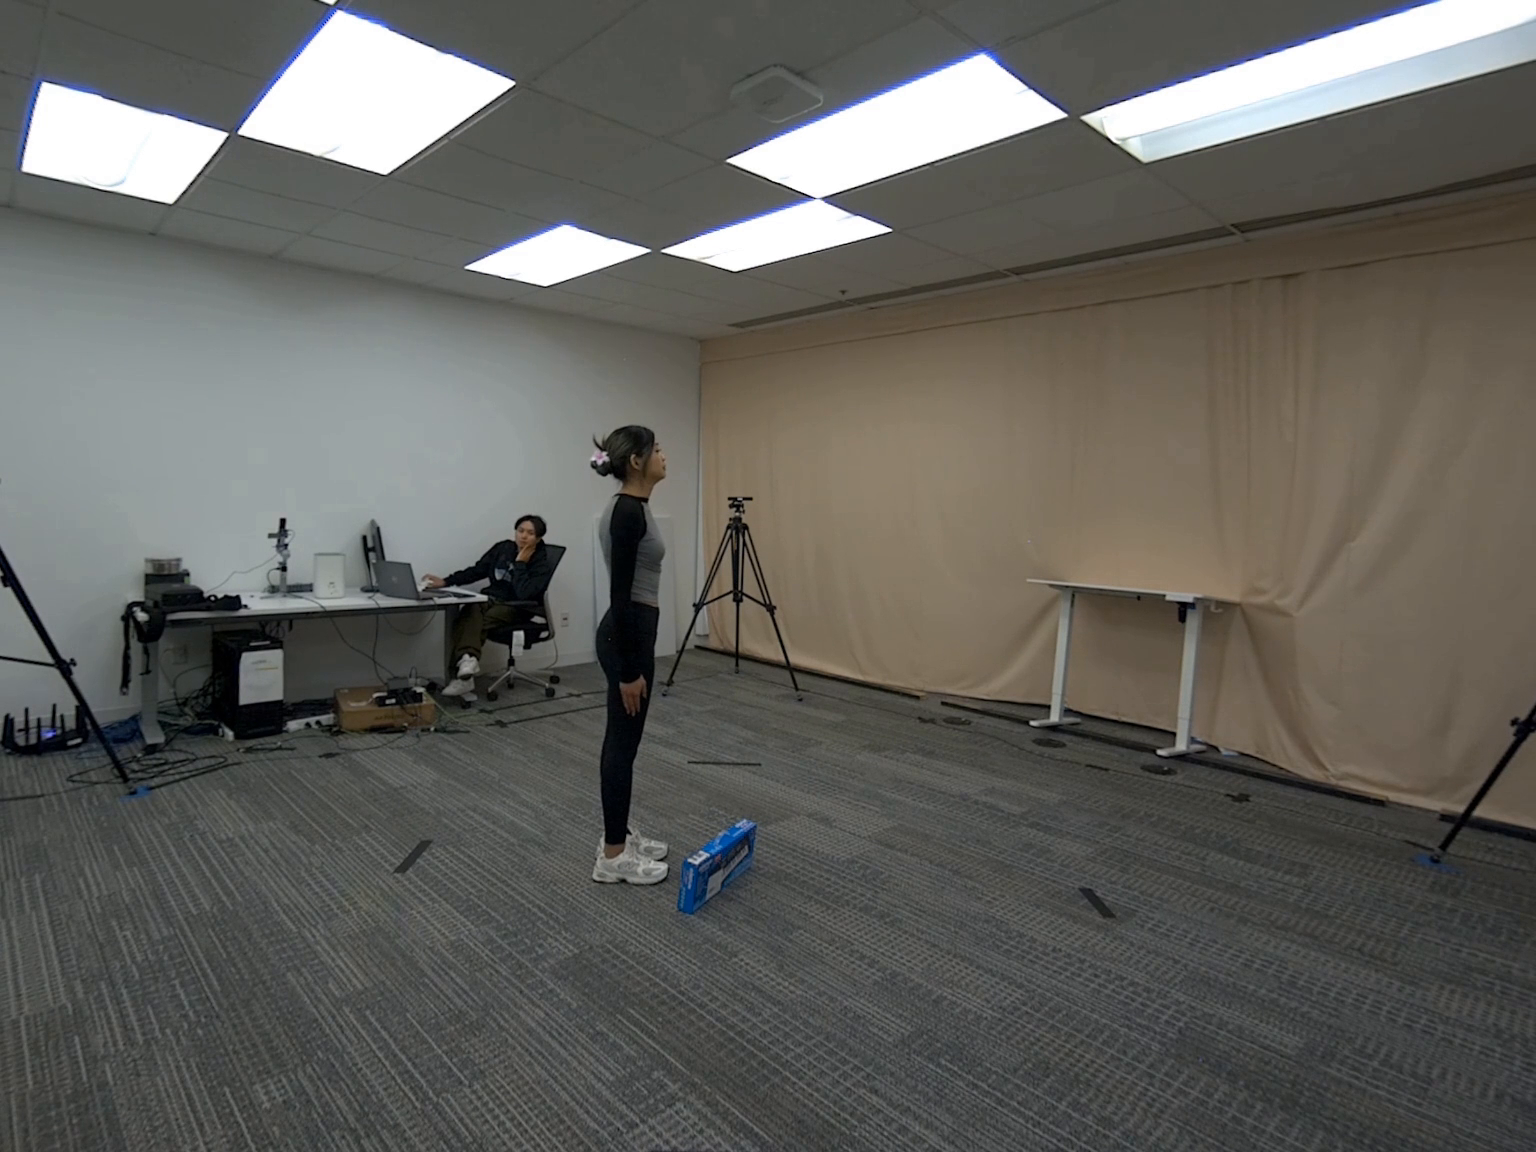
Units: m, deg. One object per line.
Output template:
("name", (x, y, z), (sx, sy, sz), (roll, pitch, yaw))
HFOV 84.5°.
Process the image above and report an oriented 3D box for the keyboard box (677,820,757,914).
("keyboard box", (-0.179, 1.030, 3.002), (0.060, 0.175, 0.429), (10, 8, 25))
